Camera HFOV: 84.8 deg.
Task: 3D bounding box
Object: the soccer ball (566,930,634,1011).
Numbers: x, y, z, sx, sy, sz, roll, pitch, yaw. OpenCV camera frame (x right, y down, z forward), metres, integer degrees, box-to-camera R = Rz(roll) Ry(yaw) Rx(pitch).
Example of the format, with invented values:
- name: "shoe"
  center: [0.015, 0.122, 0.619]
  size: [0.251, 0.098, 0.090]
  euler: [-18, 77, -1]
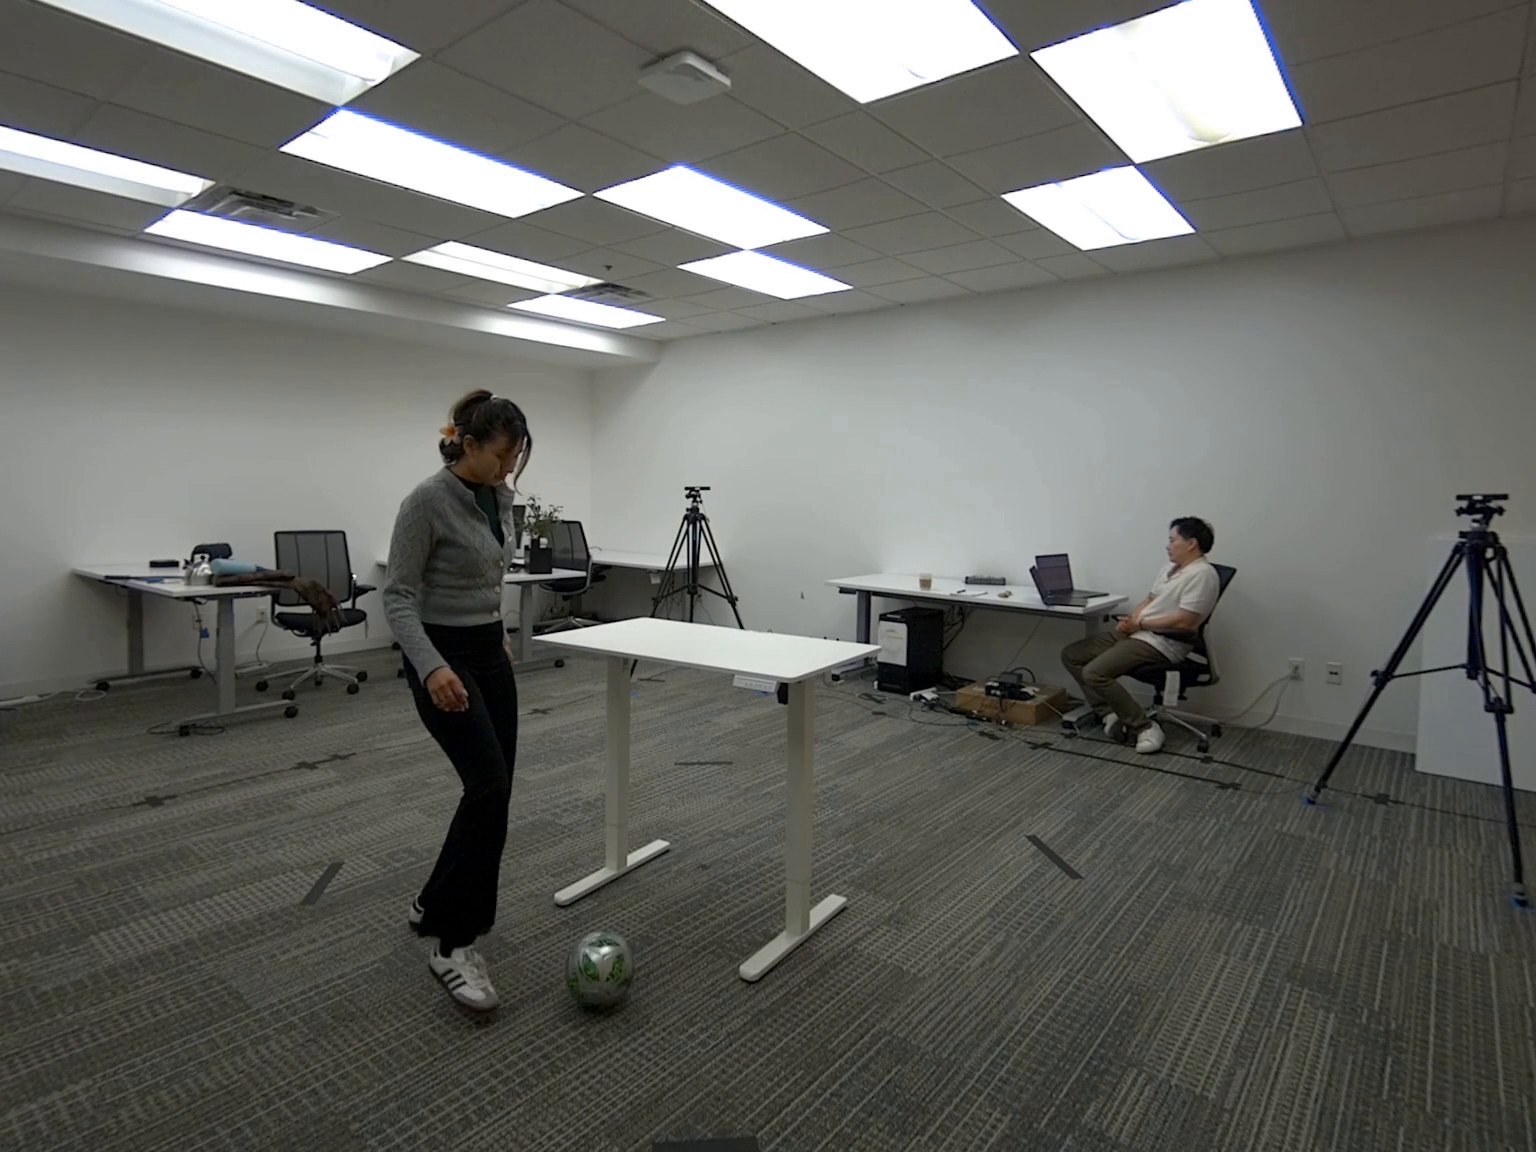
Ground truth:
- name: "soccer ball"
  center: [-0.451, 1.058, 2.280]
  size: [0.187, 0.187, 0.188]
  euler: [0, 4, -2]
